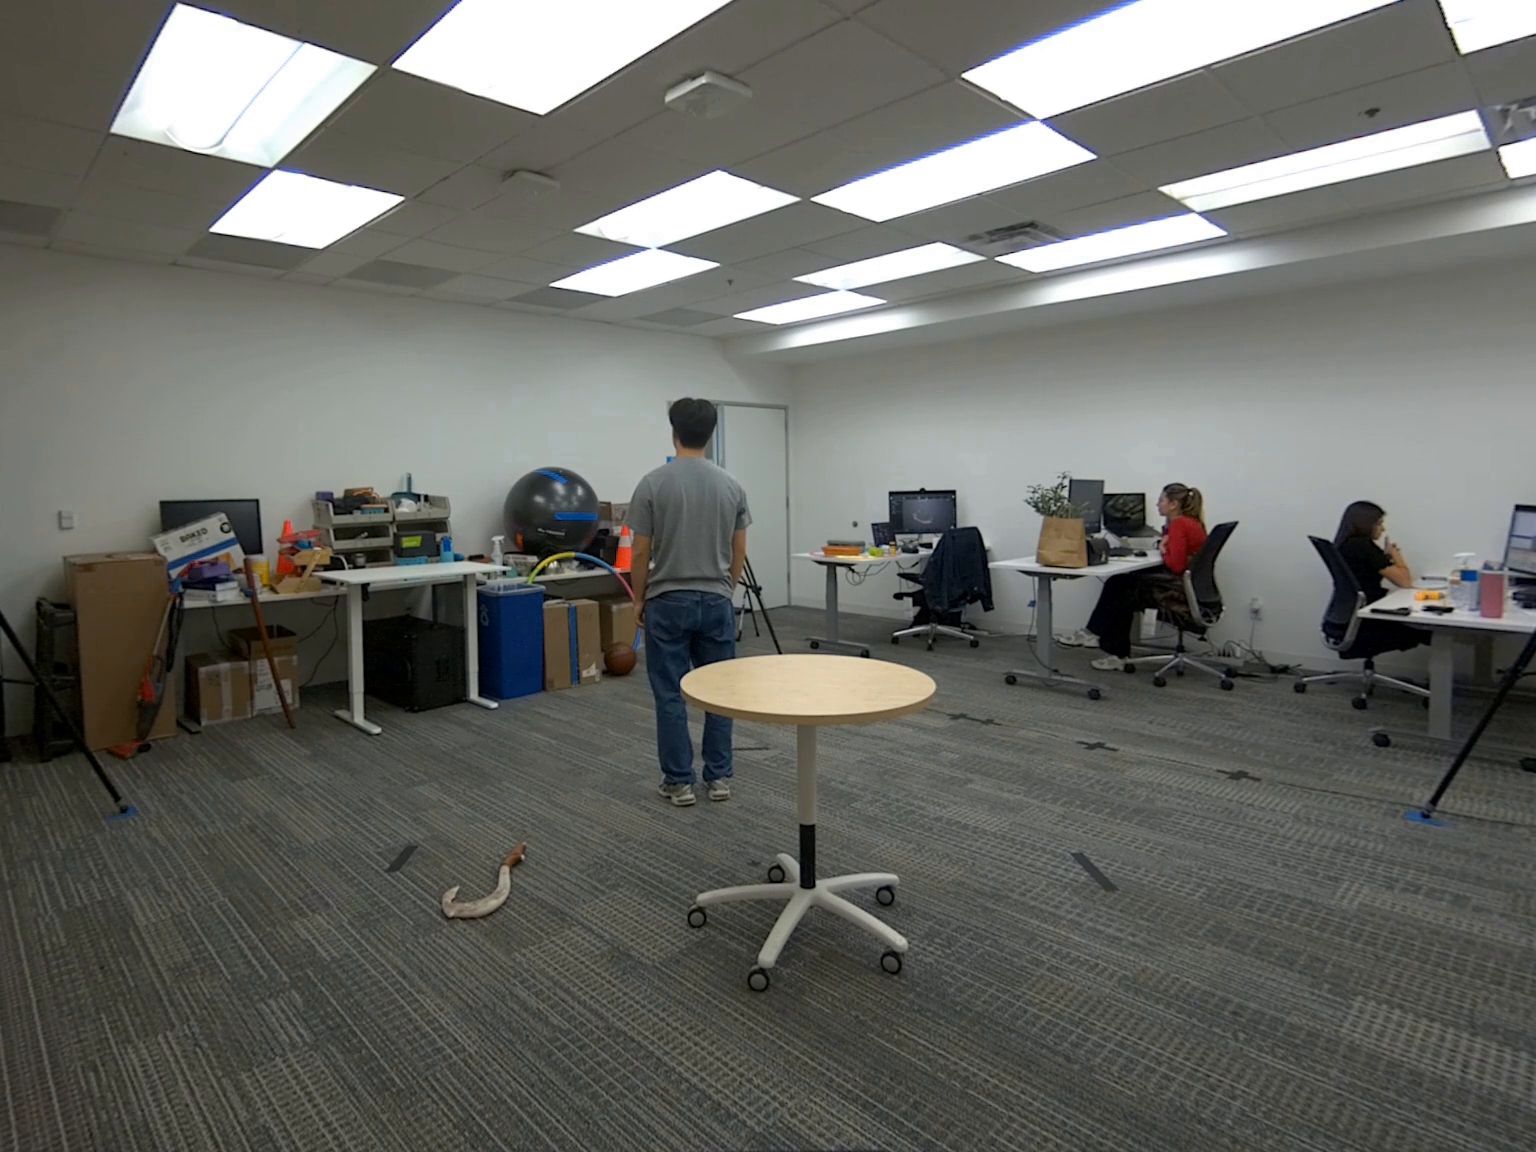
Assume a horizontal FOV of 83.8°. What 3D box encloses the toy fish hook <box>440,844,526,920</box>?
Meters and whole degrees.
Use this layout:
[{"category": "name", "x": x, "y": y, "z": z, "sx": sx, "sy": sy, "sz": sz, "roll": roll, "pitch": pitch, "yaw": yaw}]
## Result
[{"category": "toy fish hook", "x": -0.980, "y": 1.056, "z": 2.993, "sx": 0.225, "sy": 0.048, "sz": 0.508, "roll": -1, "pitch": 6, "yaw": 0}]
